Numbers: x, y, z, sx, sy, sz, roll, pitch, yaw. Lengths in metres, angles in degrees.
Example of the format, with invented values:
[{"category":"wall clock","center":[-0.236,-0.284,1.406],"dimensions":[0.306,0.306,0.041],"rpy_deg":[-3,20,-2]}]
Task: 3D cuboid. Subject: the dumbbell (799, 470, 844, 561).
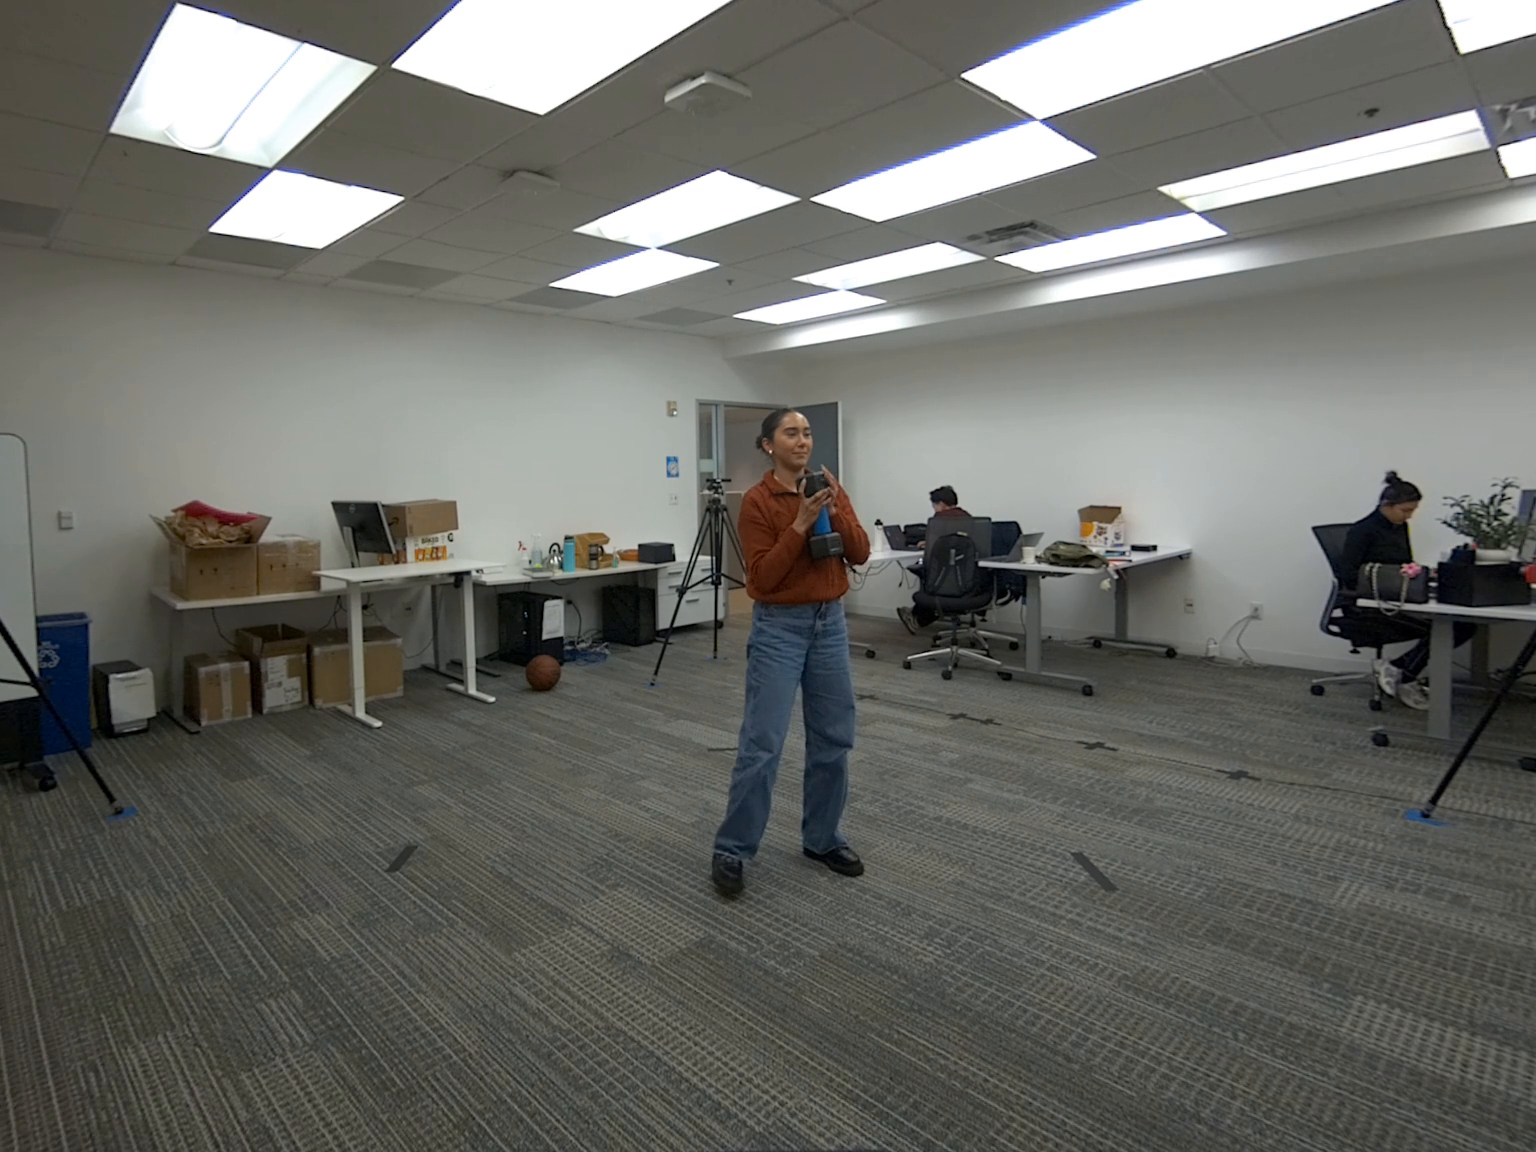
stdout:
[{"category":"dumbbell","center":[0.168,-0.203,2.906],"dimensions":[0.120,0.295,0.110],"rpy_deg":[-11,-4,-34]}]
